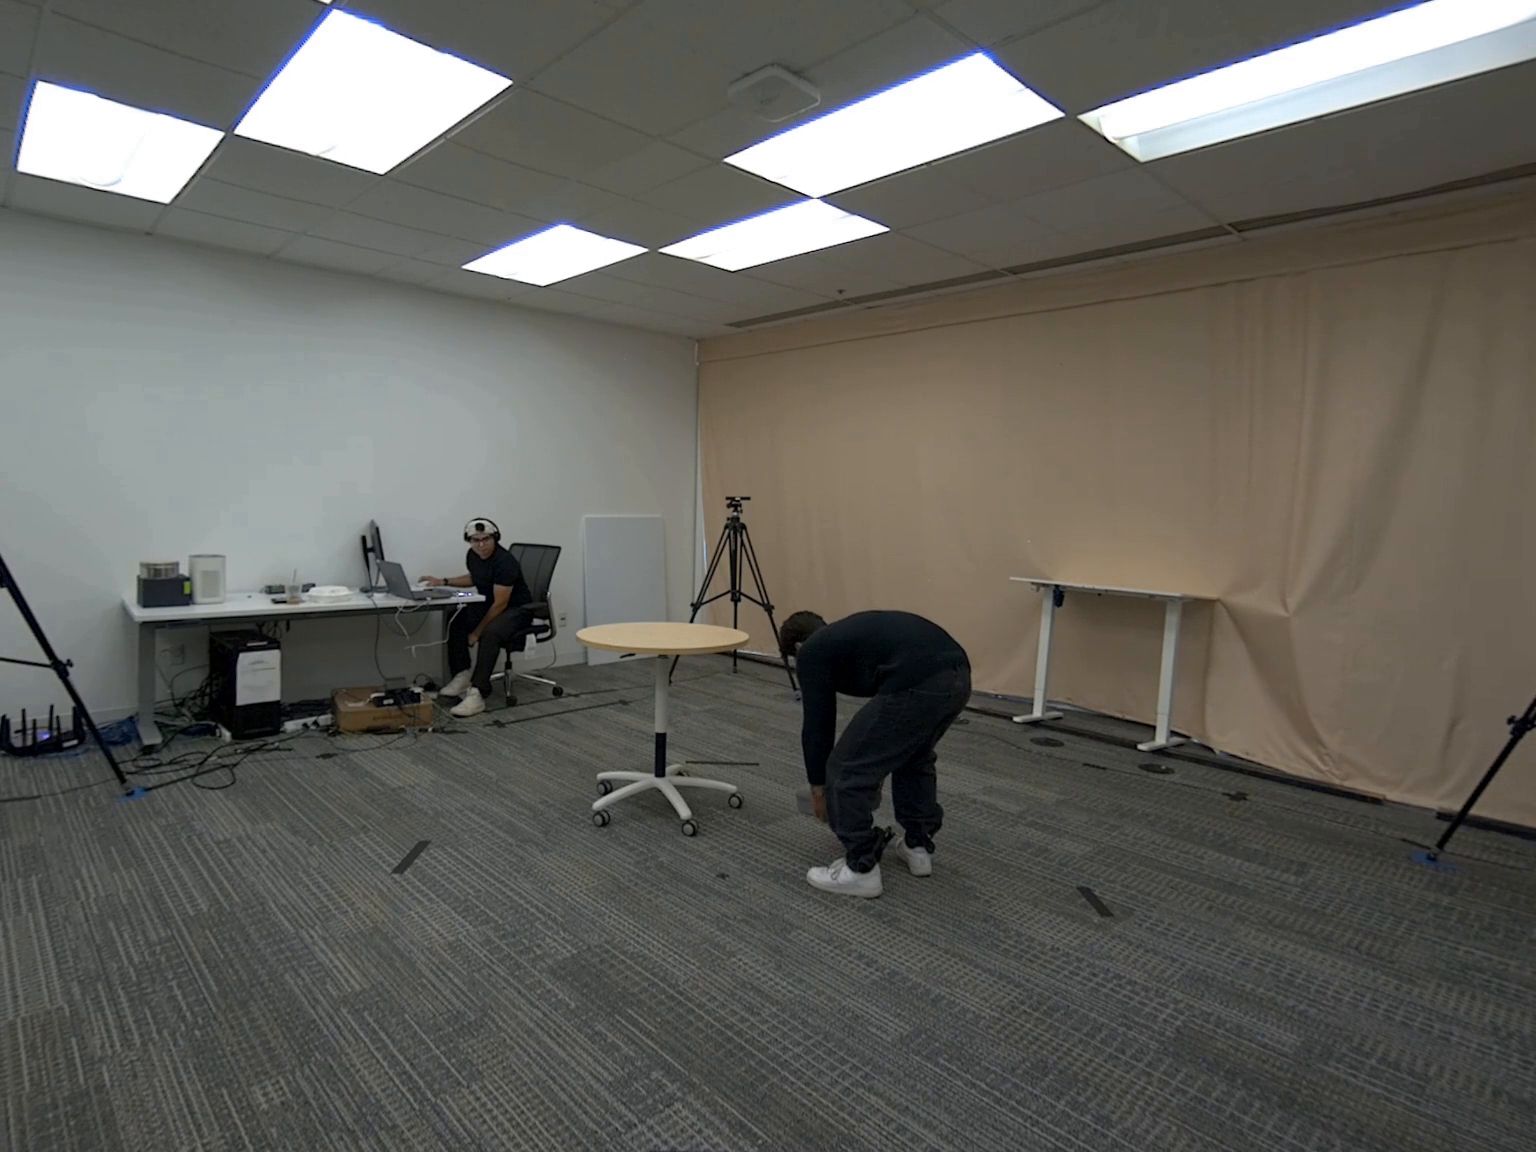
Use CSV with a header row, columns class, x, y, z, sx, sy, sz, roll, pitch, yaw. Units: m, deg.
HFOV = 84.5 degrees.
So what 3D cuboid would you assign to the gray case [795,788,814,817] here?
class,x,y,z,sx,sy,sz,roll,pitch,yaw
gray case,0.284,0.873,3.330,0.267,0.104,0.251,2,3,44
